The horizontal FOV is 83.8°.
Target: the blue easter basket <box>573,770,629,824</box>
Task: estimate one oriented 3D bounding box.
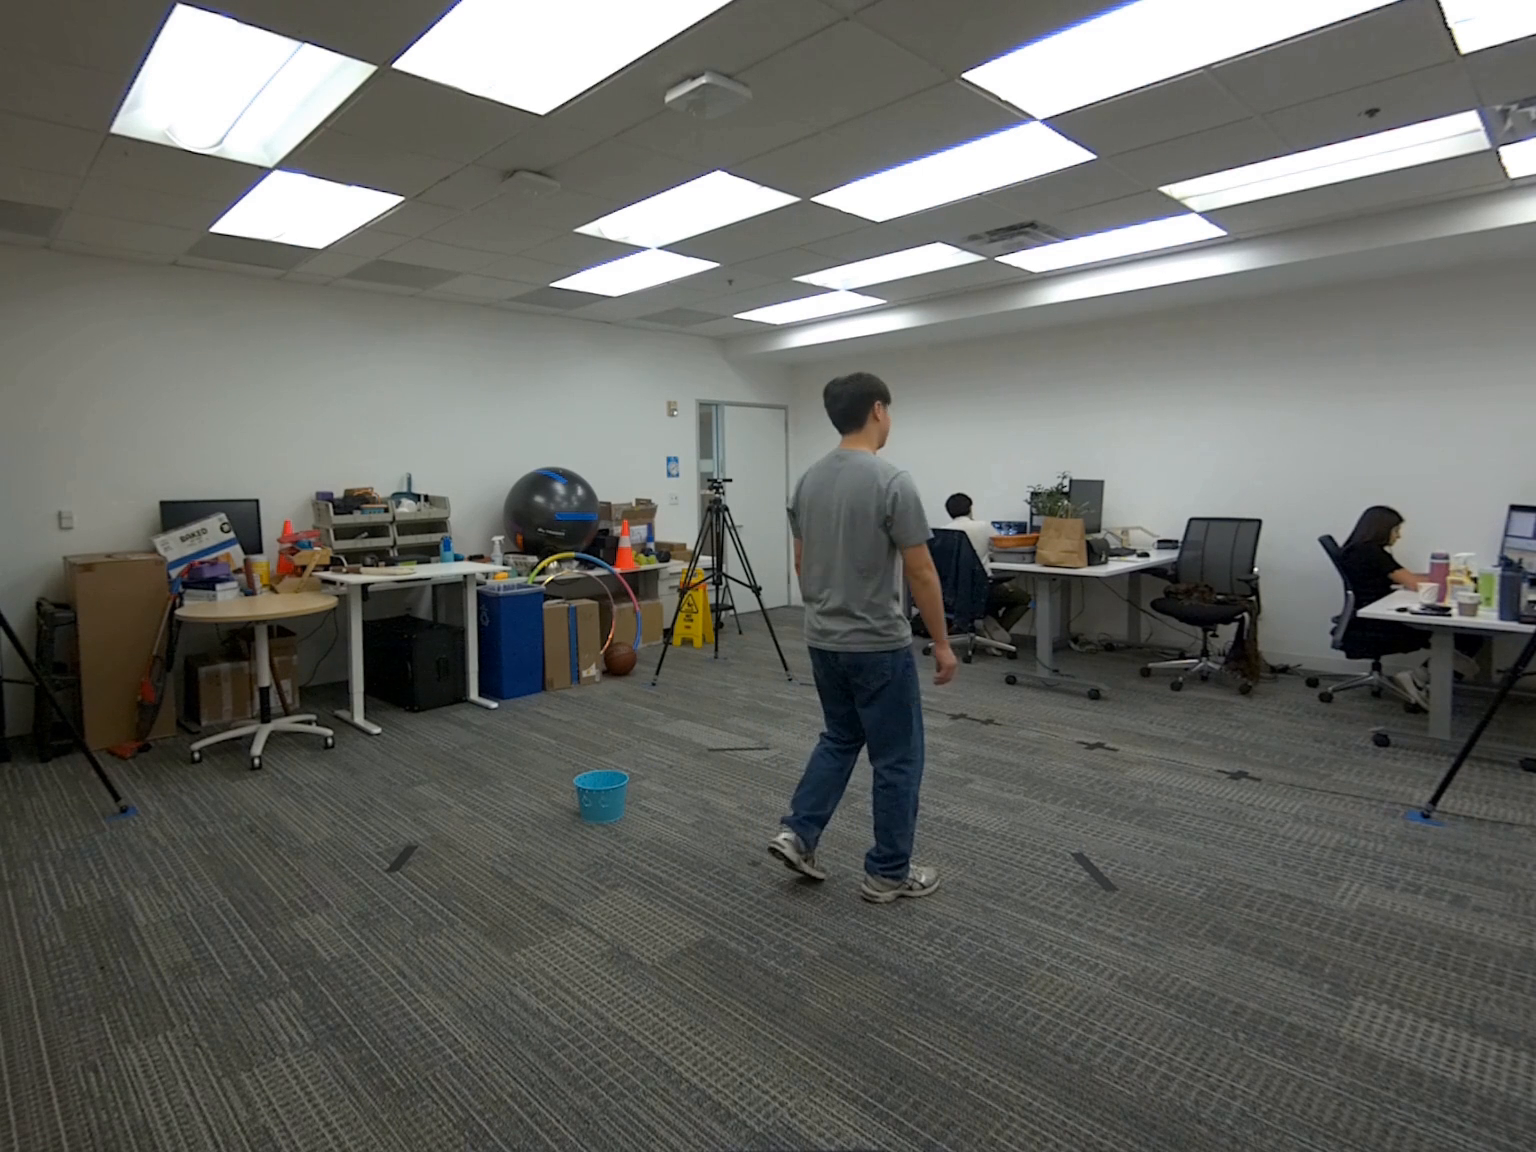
[{"bbox_3d":[-0.694,0.922,3.591,0.243,0.155,0.245,-1,6,-2],"label":"blue easter basket"}]
